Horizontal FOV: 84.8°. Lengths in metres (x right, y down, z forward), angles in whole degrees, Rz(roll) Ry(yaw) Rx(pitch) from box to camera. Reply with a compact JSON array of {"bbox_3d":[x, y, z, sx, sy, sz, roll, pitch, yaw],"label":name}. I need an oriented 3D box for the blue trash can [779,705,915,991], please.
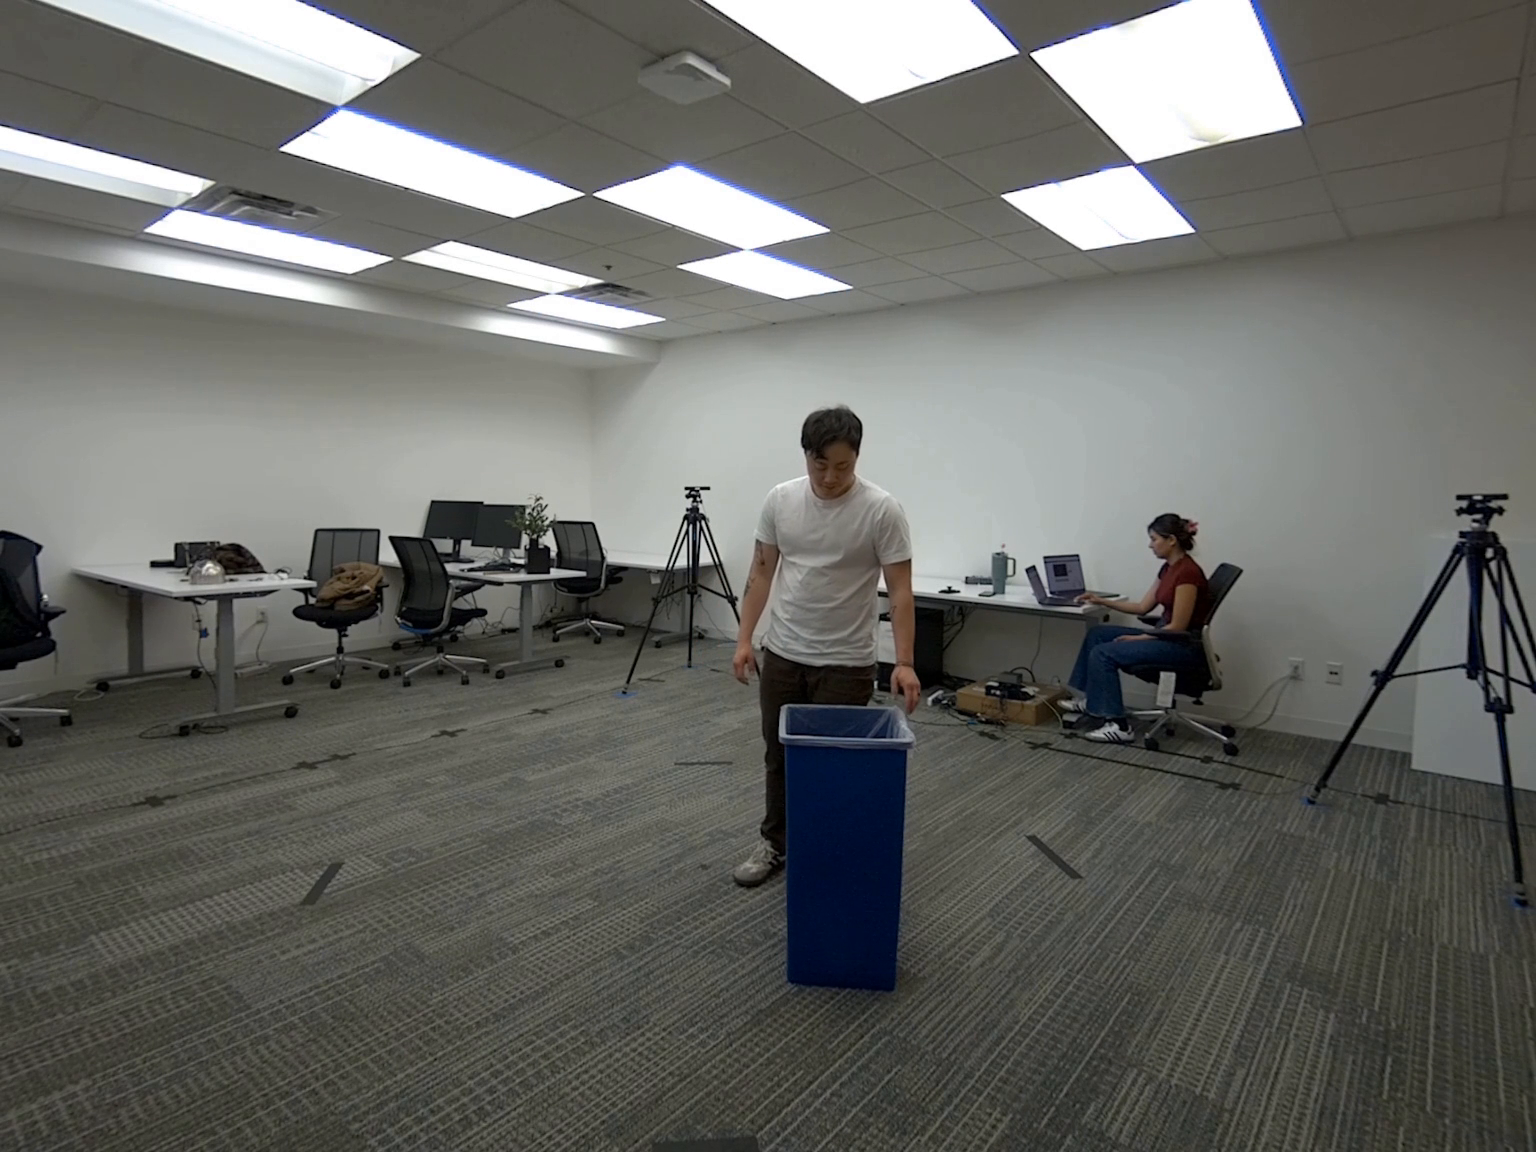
[{"bbox_3d":[0.214,0.773,2.517,0.380,0.711,0.374,1,4,3],"label":"blue trash can"}]
